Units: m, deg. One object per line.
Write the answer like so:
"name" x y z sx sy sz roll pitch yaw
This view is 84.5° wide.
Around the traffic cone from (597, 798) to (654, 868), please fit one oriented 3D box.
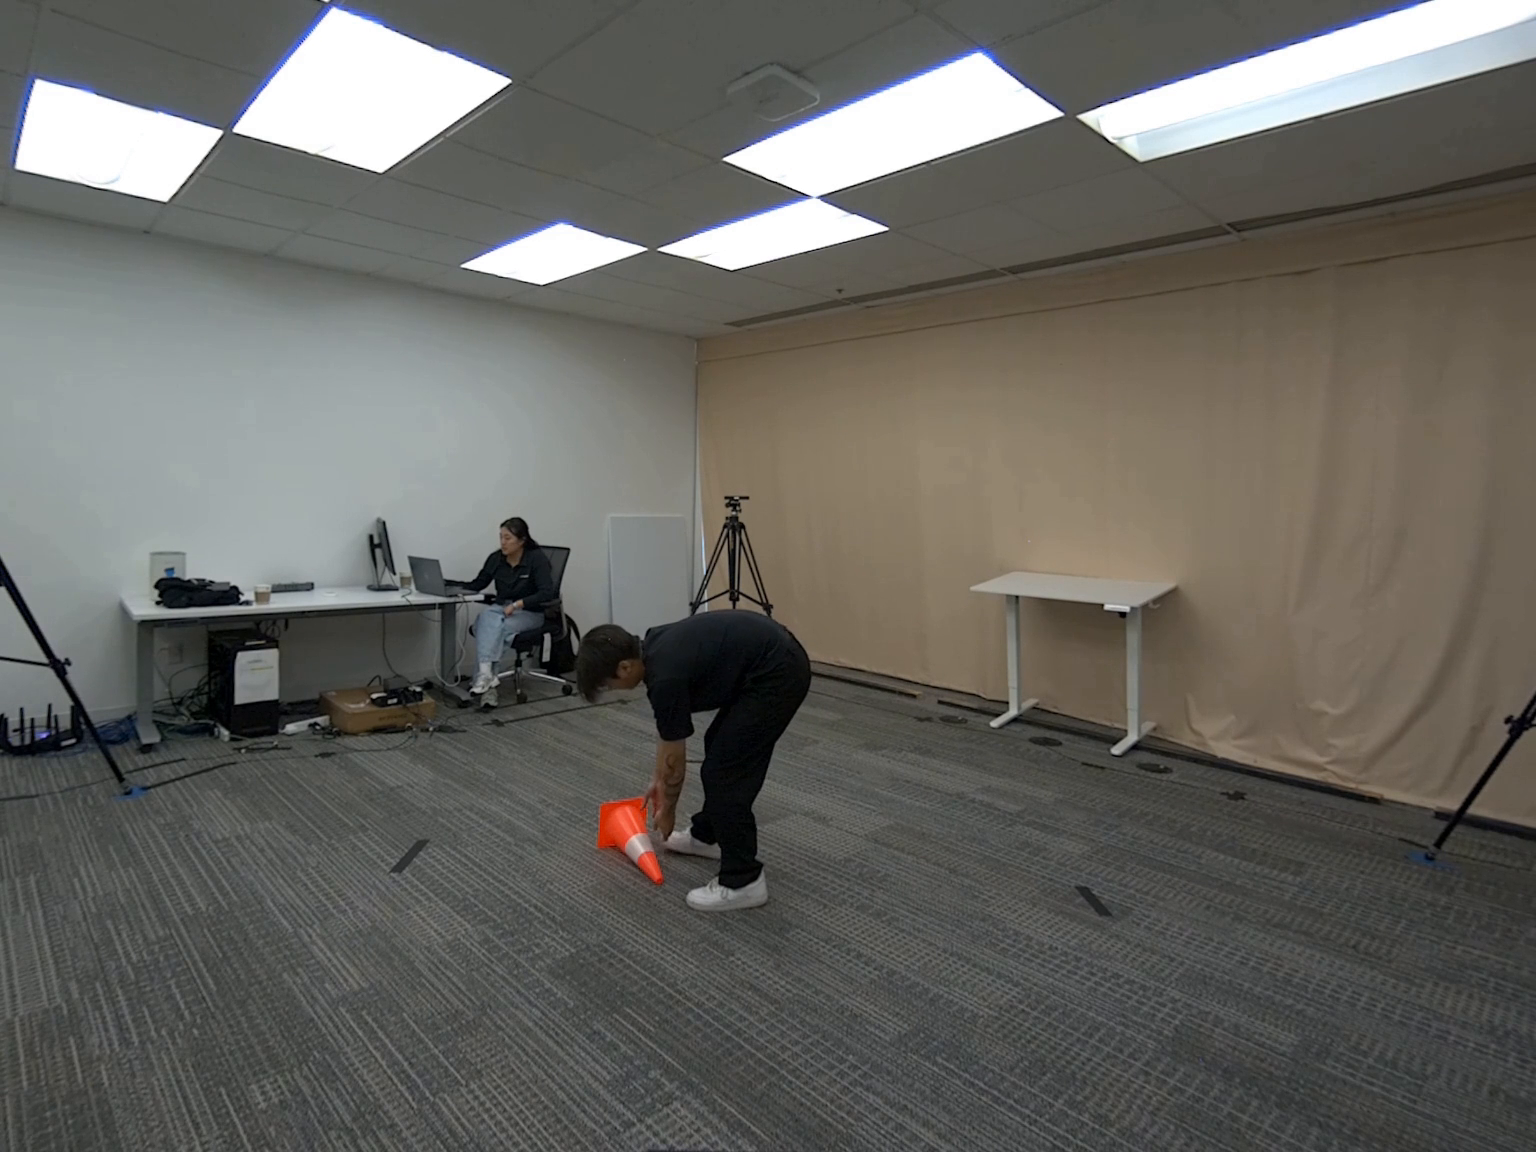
"traffic cone" -0.492 1.033 3.172 0.201 0.201 0.395 -3 18 -28
